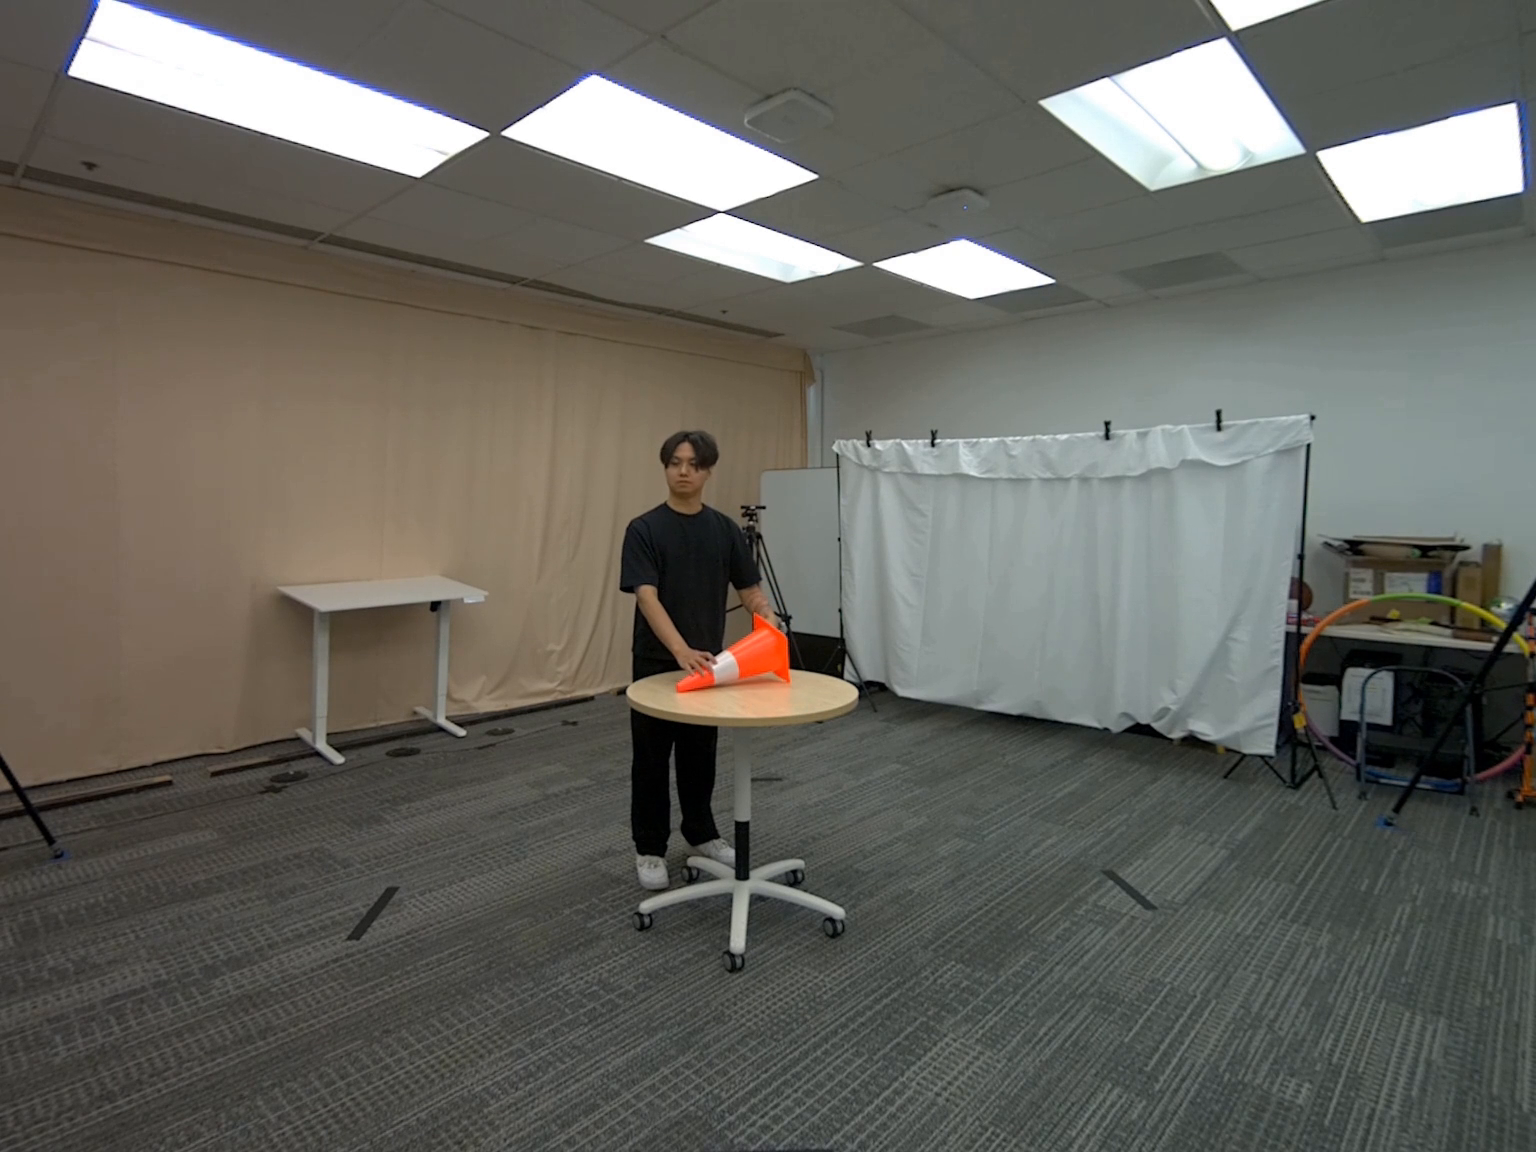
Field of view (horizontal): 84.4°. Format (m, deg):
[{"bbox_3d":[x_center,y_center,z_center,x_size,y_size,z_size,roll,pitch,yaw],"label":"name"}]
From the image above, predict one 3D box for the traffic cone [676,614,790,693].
[{"bbox_3d":[-0.139,0.312,2.827,0.376,0.201,0.211,-20,33,-30],"label":"traffic cone"}]
